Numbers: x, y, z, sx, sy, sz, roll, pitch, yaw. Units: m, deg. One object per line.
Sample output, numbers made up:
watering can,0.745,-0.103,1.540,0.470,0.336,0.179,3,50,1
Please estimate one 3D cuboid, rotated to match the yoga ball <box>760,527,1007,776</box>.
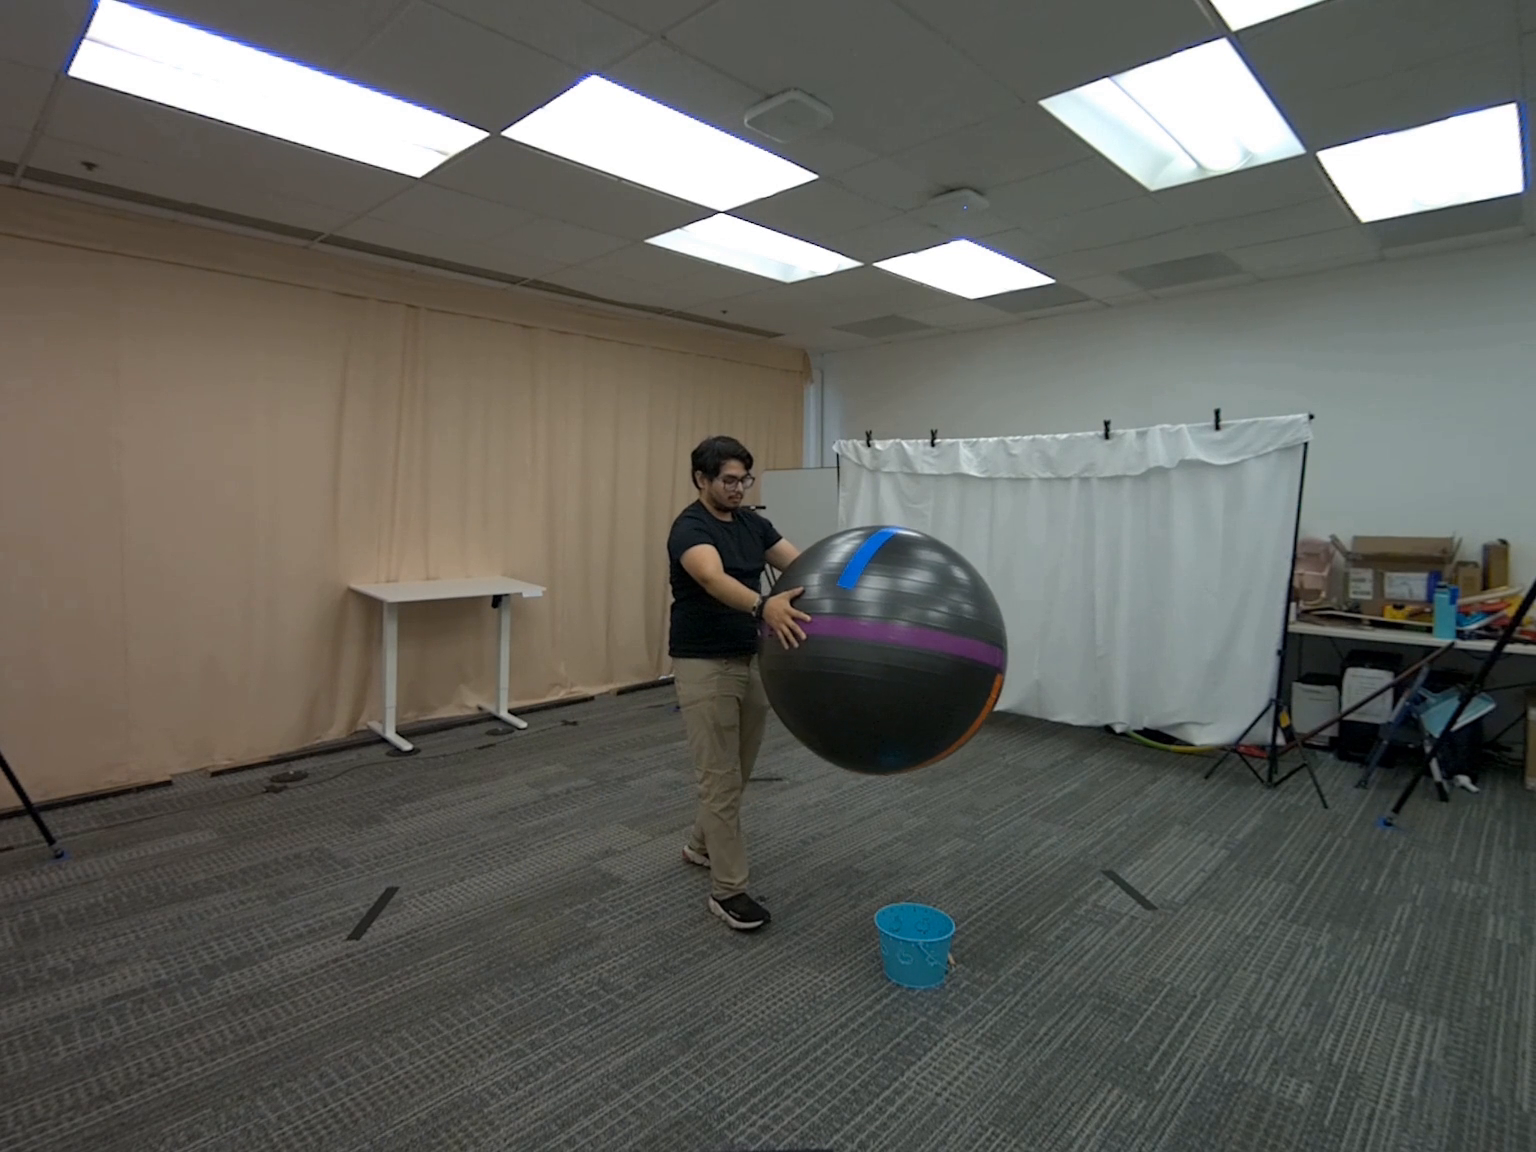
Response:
yoga ball,0.350,0.233,2.619,0.757,0.756,0.761,0,4,-2
